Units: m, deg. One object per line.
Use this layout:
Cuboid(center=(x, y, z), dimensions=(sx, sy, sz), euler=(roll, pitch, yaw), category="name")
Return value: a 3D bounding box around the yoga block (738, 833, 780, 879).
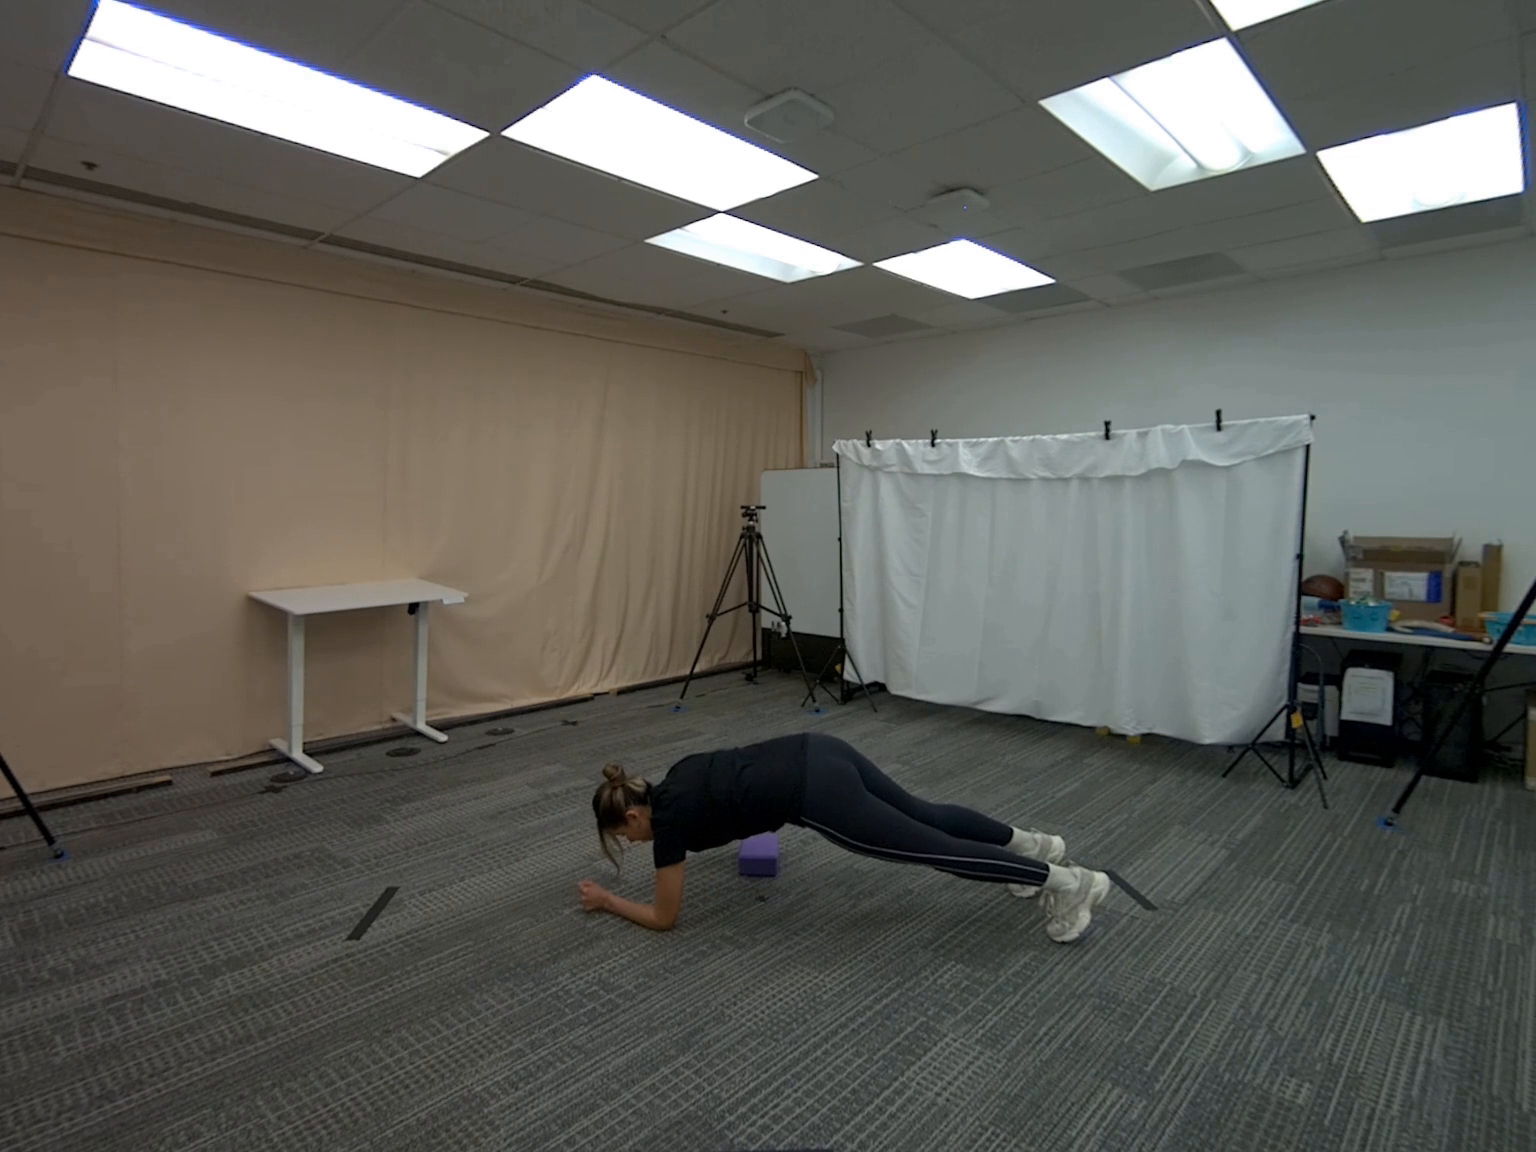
Cuboid(center=(-0.030, 1.074, 3.268), dimensions=(0.150, 0.076, 0.229), euler=(0, 7, 4), category="yoga block")
